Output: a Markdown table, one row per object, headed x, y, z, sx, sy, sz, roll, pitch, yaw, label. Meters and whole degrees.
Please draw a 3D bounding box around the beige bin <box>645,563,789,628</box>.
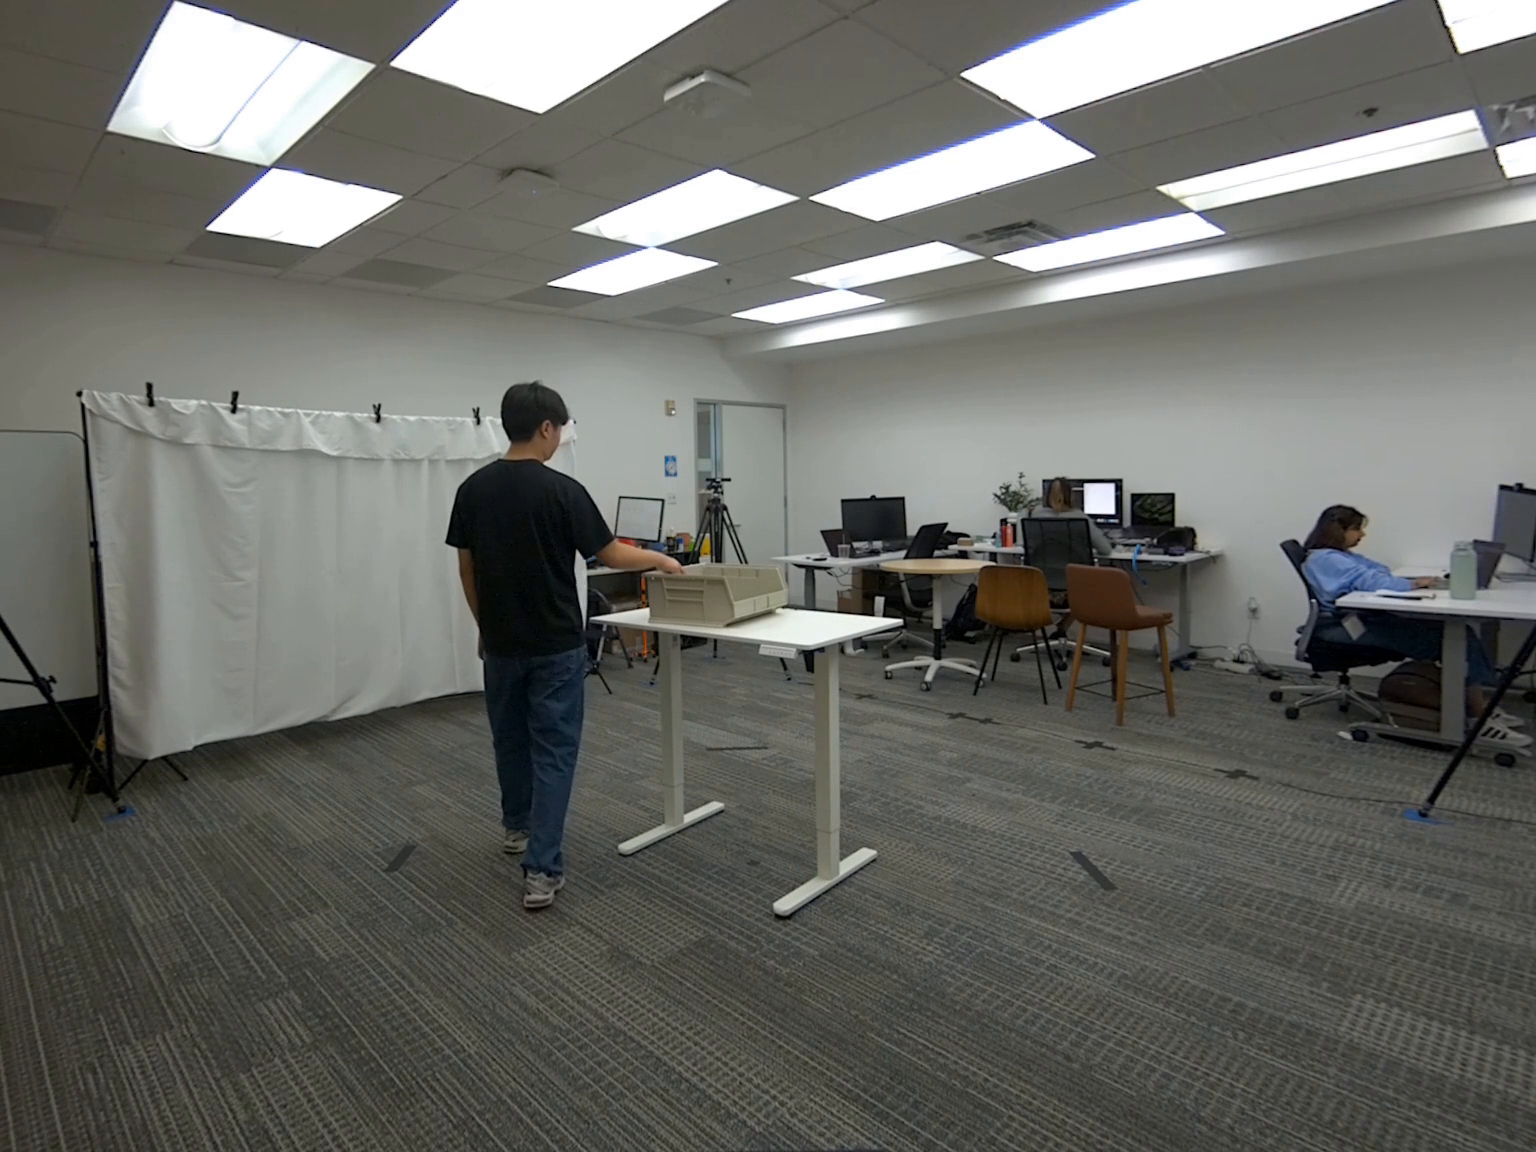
| x | y | z | sx | sy | sz | roll | pitch | yaw | label |
| --- | --- | --- | --- | --- | --- | --- | --- | --- | --- |
| -0.183 | 0.069 | 3.165 | 0.387 | 0.188 | 0.413 | 0 | 6 | 30 | beige bin |
